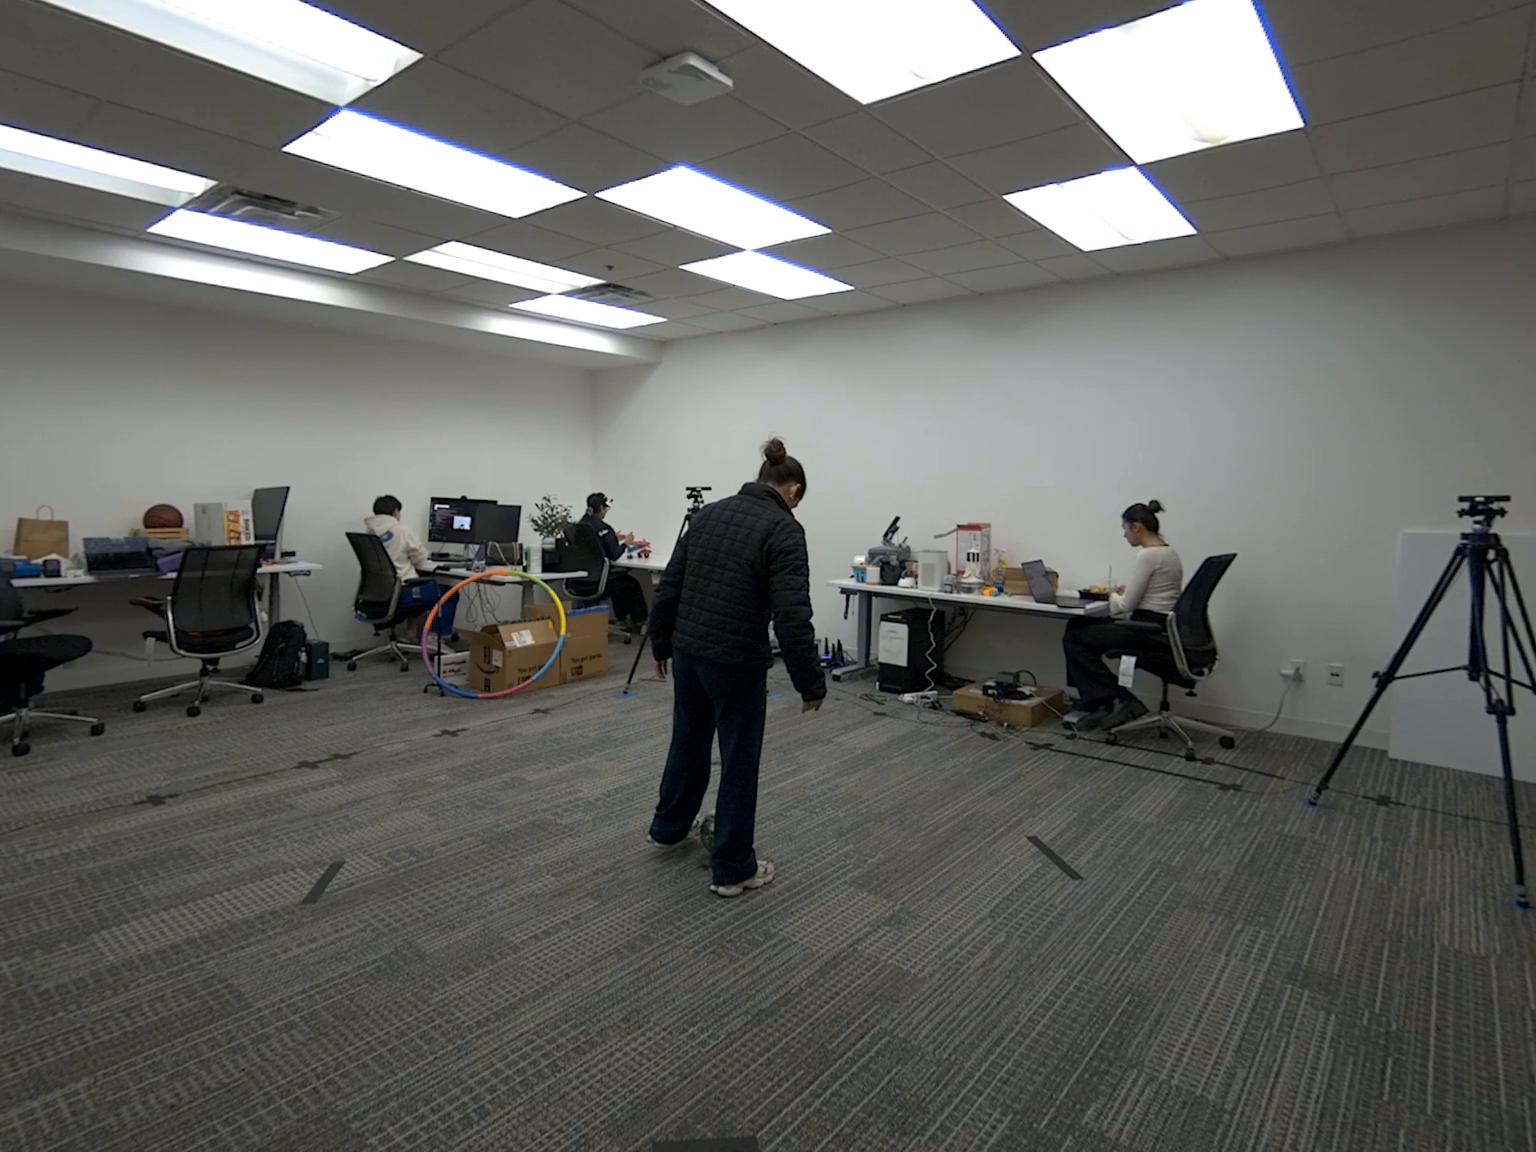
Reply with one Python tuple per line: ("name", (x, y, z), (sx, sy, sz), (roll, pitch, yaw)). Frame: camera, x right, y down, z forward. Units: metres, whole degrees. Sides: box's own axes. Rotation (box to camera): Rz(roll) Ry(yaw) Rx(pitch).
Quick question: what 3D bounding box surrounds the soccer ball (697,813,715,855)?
("soccer ball", (-0.172, 0.963, 3.201), (0.187, 0.187, 0.188), (1, 4, -2))
